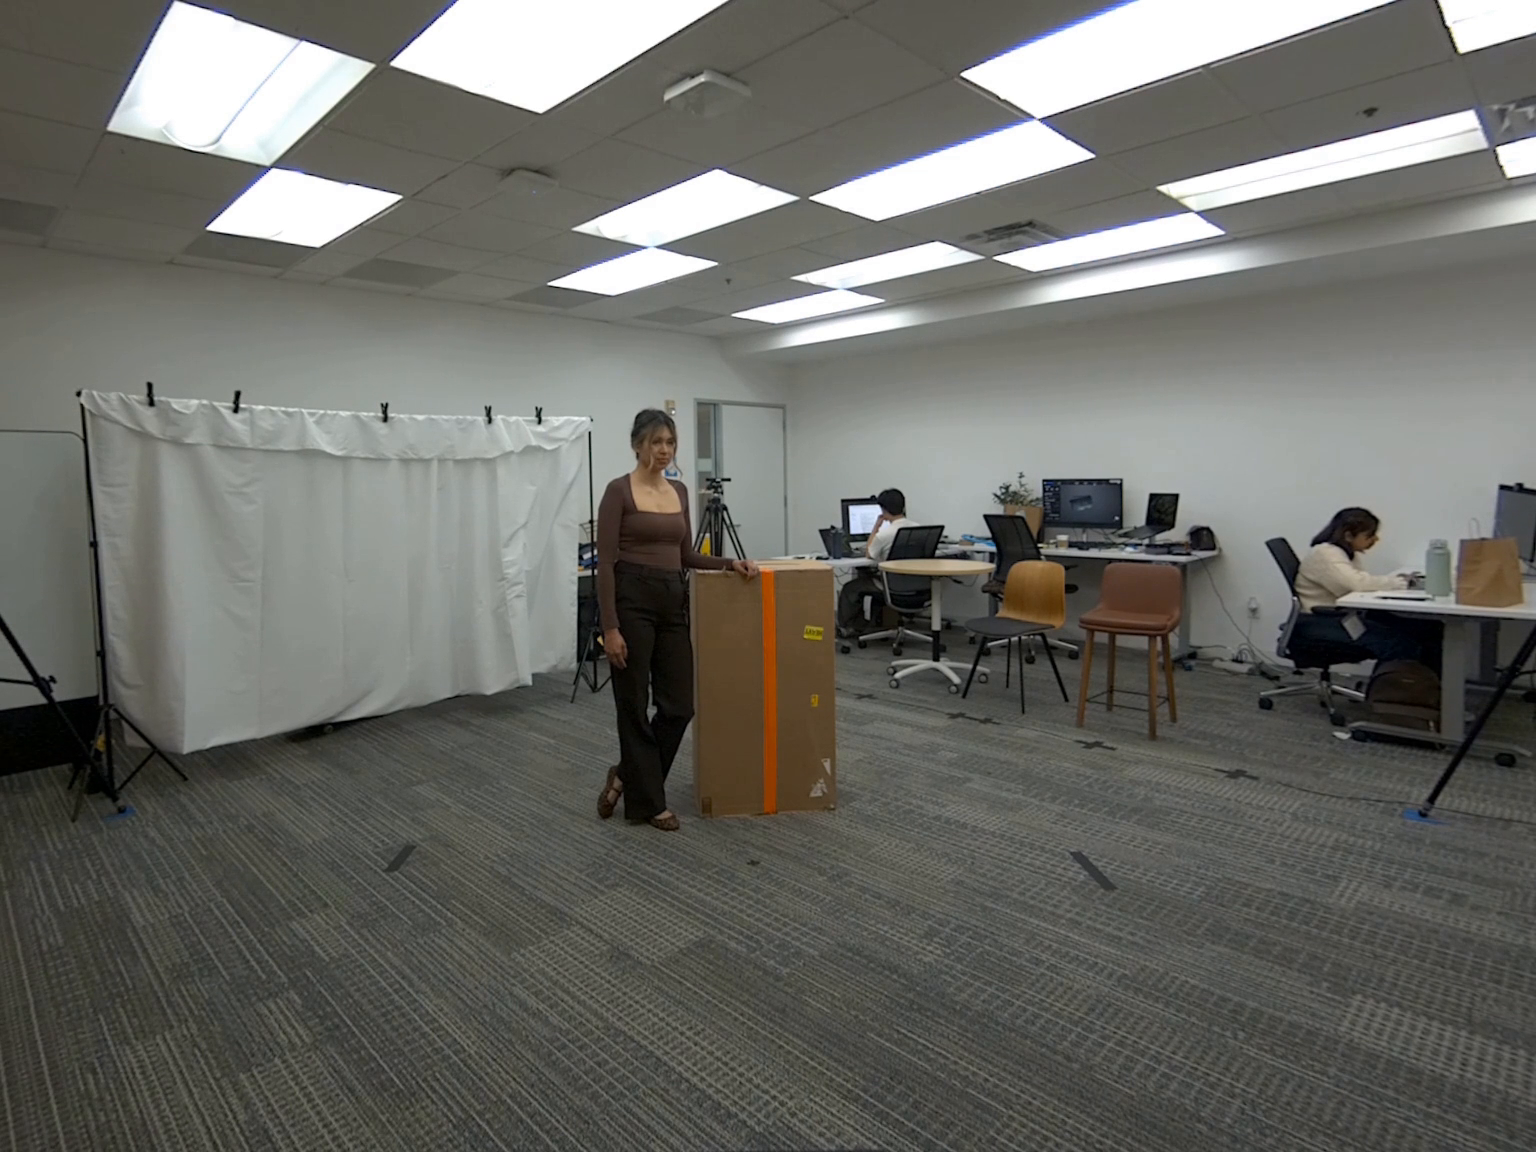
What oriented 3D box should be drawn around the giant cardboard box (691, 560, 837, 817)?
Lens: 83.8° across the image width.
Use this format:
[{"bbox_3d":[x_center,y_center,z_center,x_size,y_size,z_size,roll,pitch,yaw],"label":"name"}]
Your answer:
[{"bbox_3d":[-0.031,0.462,3.740,0.579,1.023,0.452,-1,4,-9],"label":"giant cardboard box"}]
